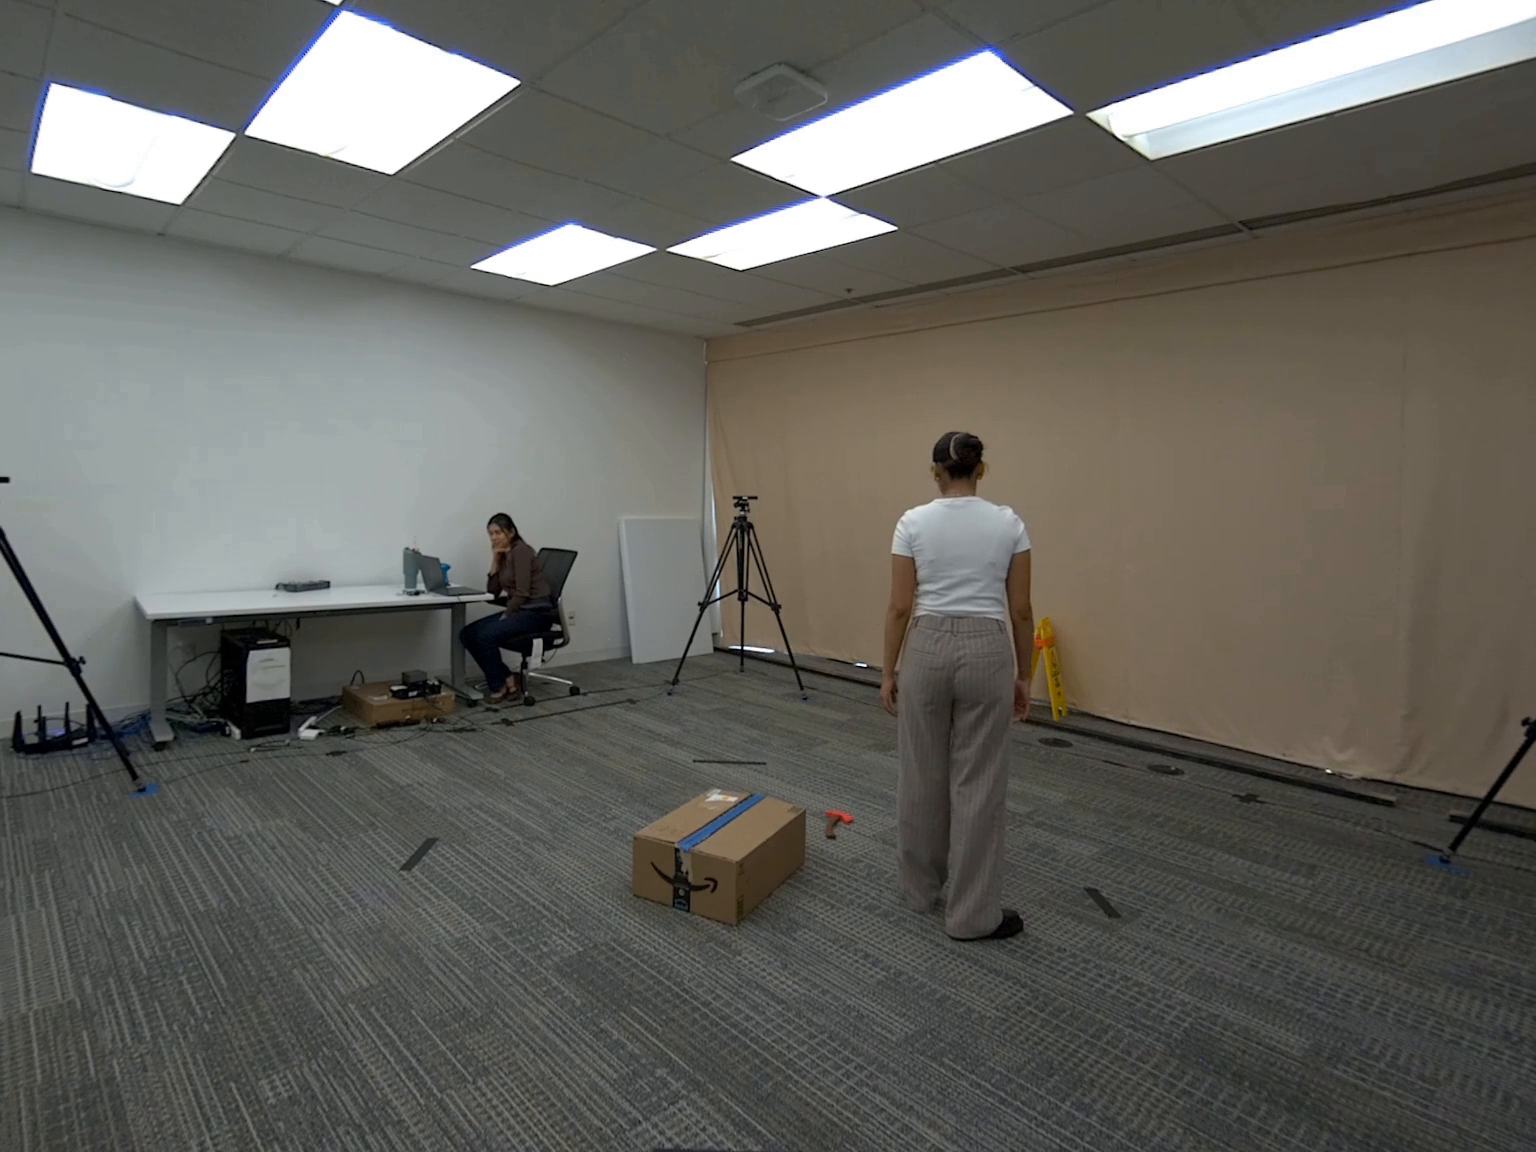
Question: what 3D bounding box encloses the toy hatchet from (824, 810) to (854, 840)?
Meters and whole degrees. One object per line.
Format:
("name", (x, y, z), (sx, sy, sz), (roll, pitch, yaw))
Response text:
("toy hatchet", (0.300, 1.062, 3.584), (0.131, 0.029, 0.271), (5, 7, 1))
